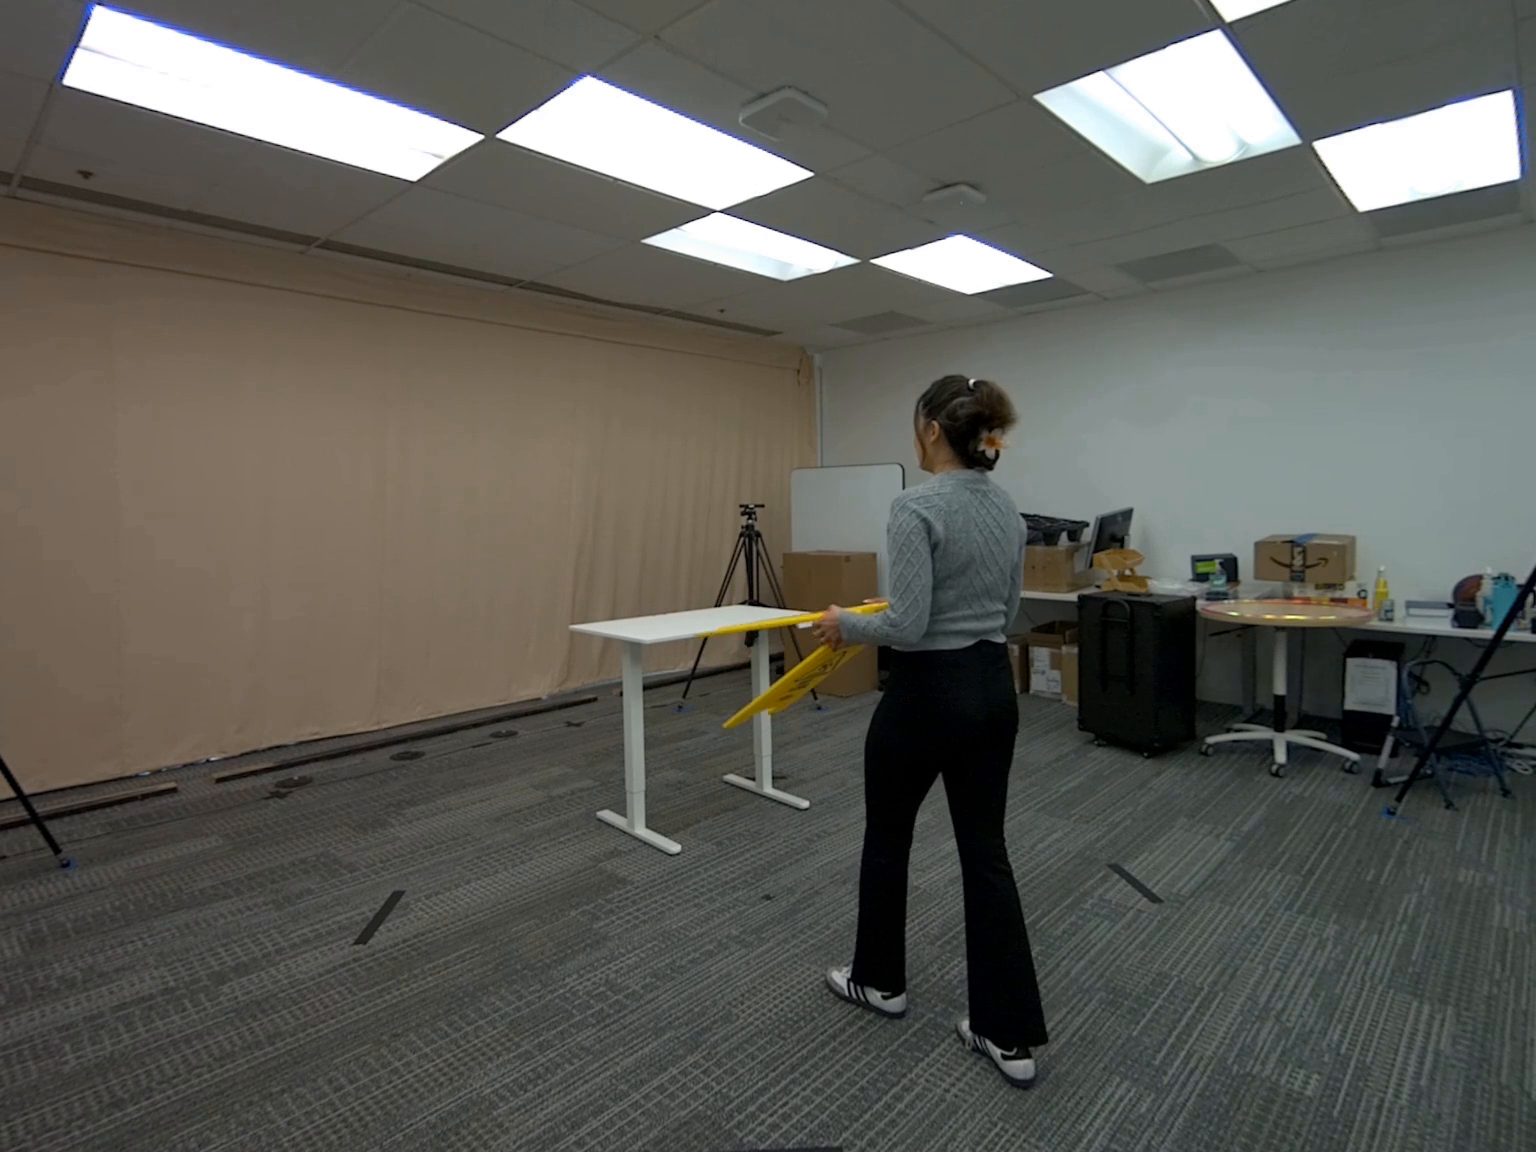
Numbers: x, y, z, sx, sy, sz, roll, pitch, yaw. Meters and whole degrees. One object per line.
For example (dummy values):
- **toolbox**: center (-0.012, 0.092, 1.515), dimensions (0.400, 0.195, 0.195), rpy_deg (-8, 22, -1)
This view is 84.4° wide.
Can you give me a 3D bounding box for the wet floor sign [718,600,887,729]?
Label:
- **wet floor sign**: center (0.116, 0.198, 2.466), dimensions (0.658, 0.293, 0.274), rpy_deg (-29, -16, 40)
